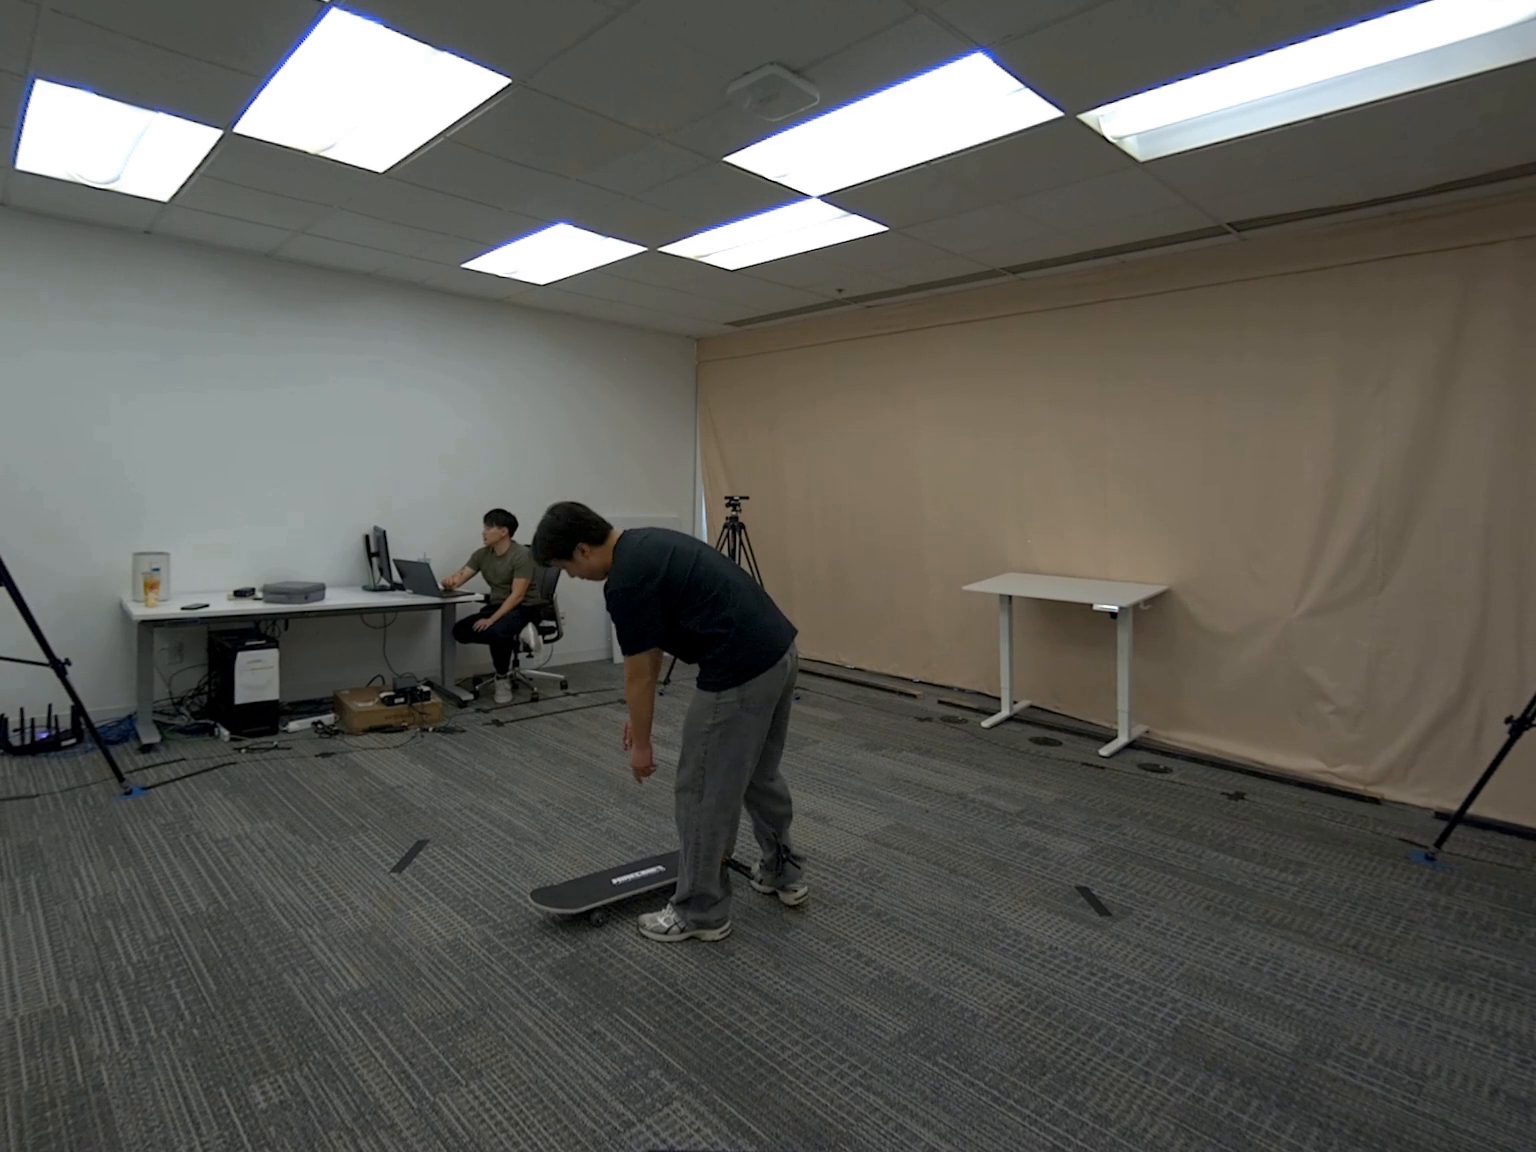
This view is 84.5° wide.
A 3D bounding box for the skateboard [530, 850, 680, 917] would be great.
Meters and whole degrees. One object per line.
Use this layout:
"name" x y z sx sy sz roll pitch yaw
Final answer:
"skateboard" -0.454 1.061 2.889 0.768 0.110 0.198 -3 6 -39
